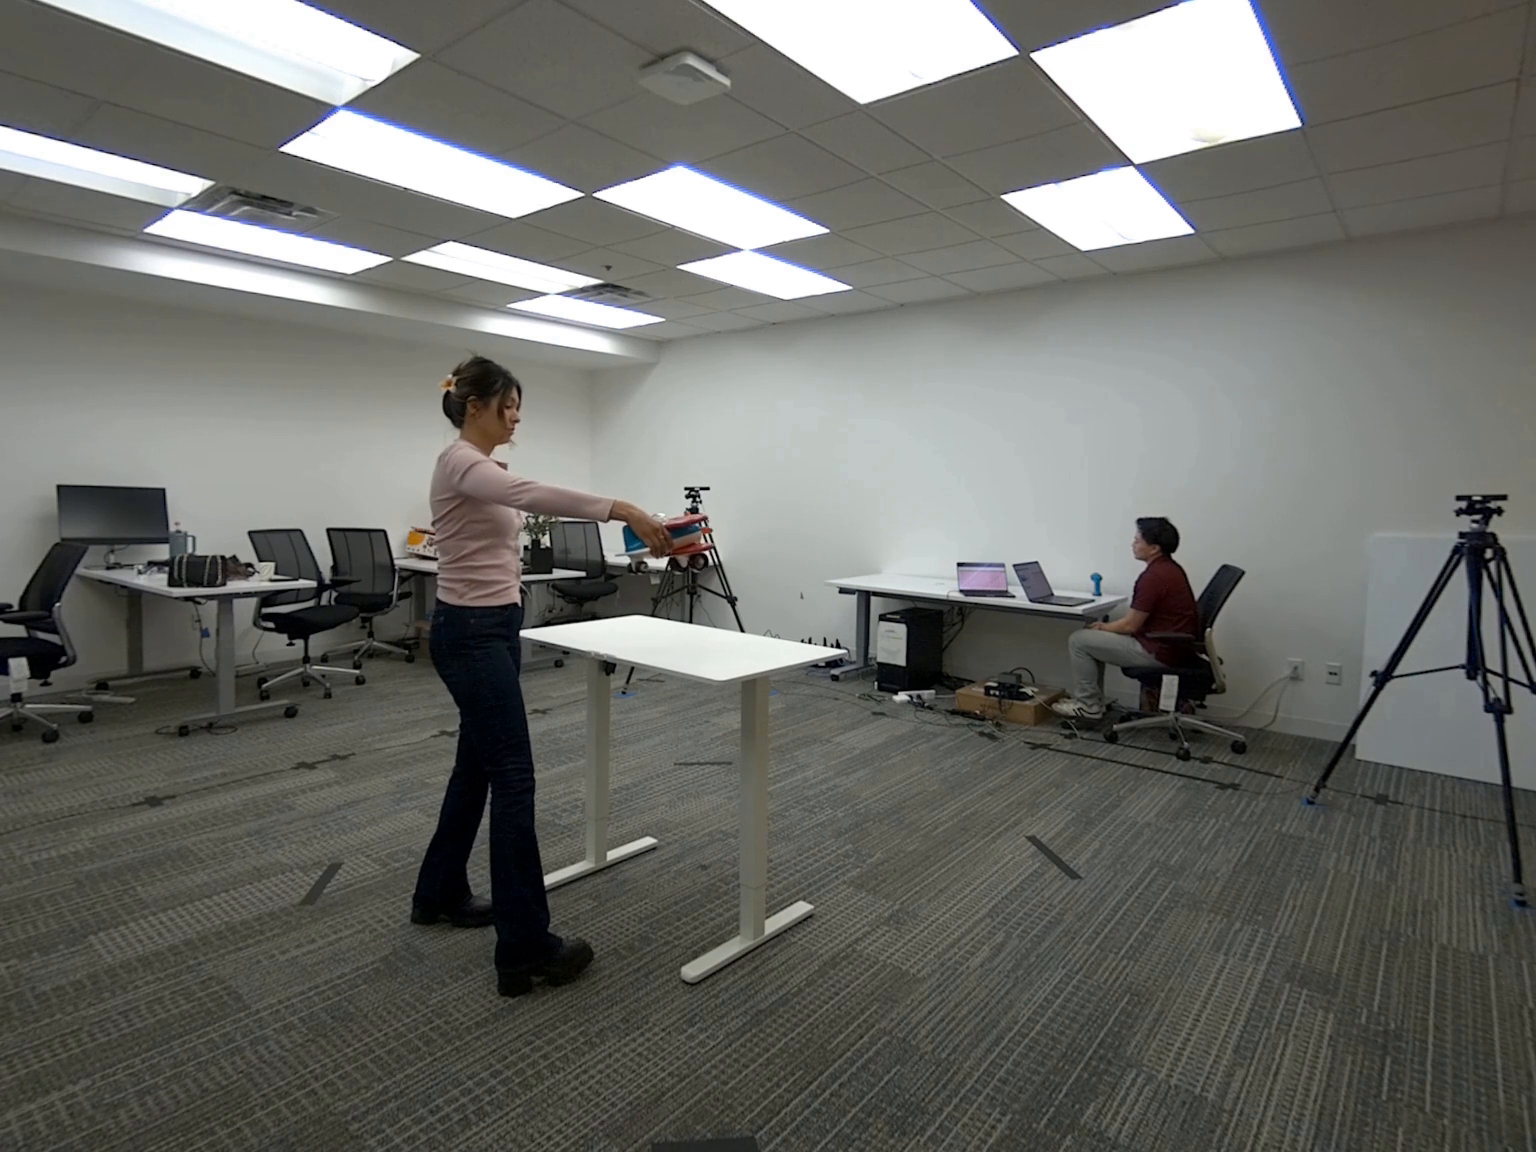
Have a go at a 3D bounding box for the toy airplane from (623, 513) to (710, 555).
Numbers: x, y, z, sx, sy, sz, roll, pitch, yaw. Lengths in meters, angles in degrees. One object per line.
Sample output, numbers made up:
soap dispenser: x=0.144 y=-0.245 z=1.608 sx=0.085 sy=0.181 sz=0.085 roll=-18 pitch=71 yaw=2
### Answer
toy airplane: x=-0.274 y=-0.090 z=2.288 sx=0.256 sy=0.157 sz=0.253 roll=-4 pitch=-3 yaw=20
